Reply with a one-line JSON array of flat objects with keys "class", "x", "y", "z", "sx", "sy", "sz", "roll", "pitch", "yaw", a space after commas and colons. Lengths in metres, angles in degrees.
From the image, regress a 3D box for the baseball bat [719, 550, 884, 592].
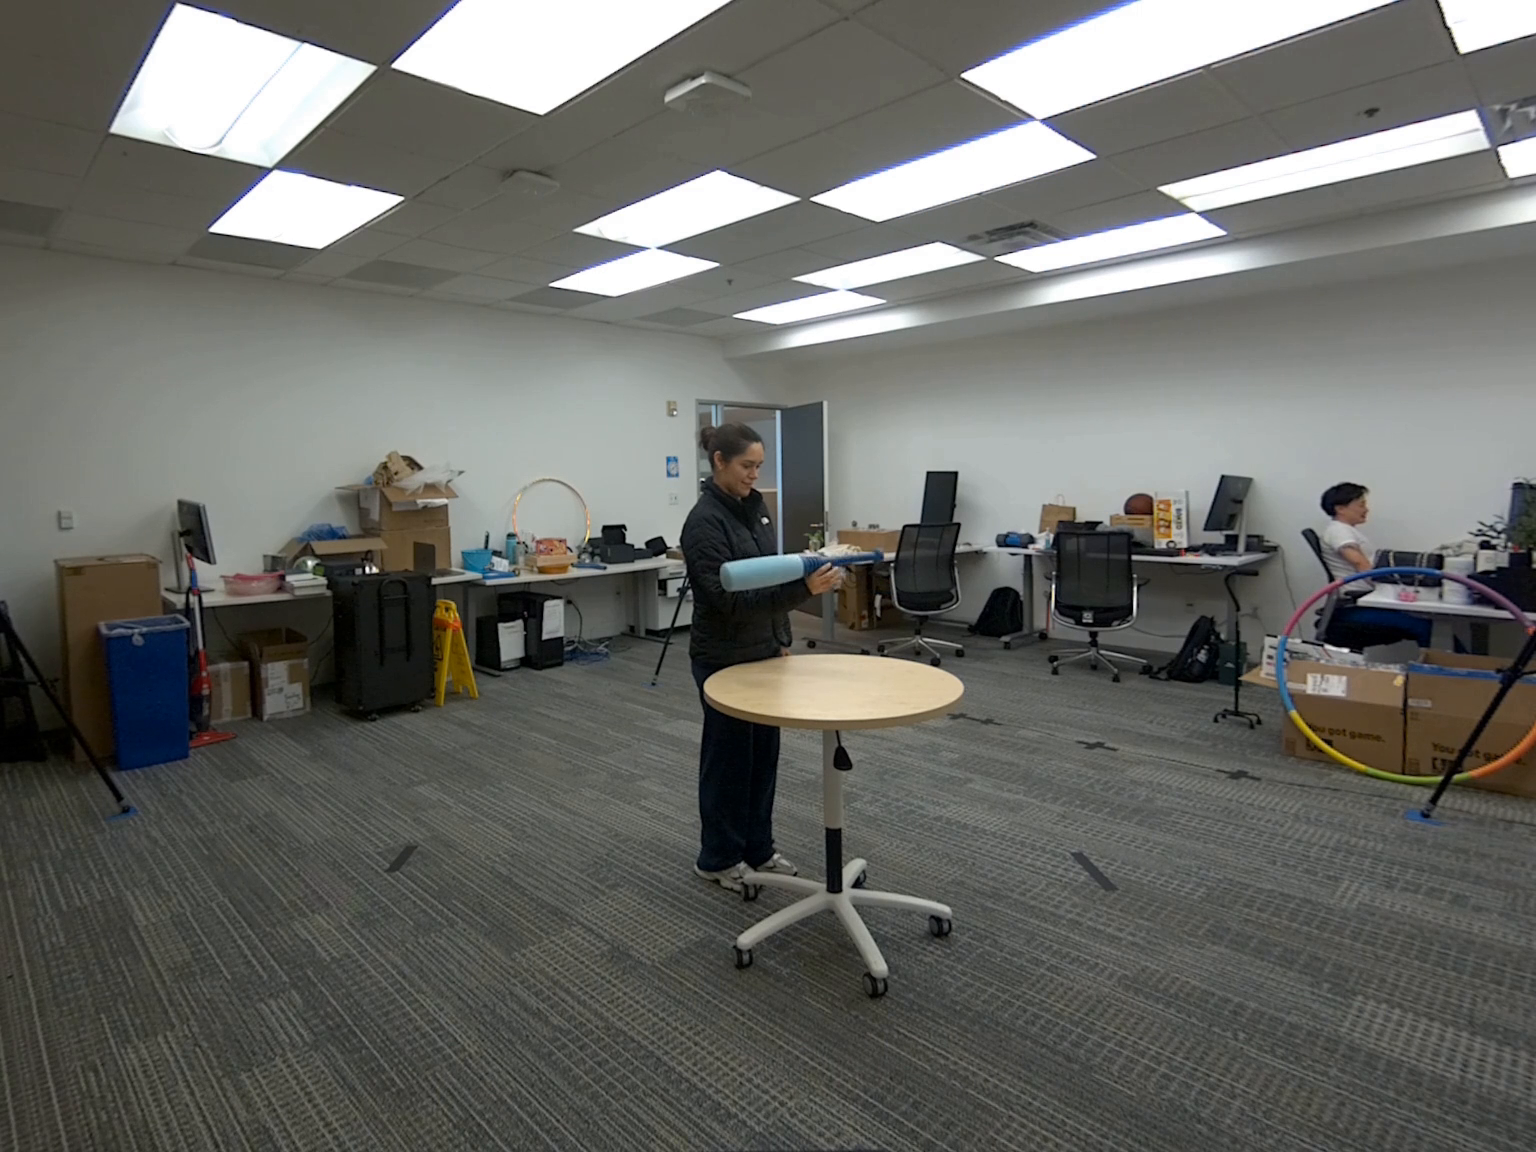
[{"class": "baseball bat", "x": 0.121, "y": -0.019, "z": 2.624, "sx": 0.534, "sy": 0.088, "sz": 0.091, "roll": -8, "pitch": 7, "yaw": -21}]
